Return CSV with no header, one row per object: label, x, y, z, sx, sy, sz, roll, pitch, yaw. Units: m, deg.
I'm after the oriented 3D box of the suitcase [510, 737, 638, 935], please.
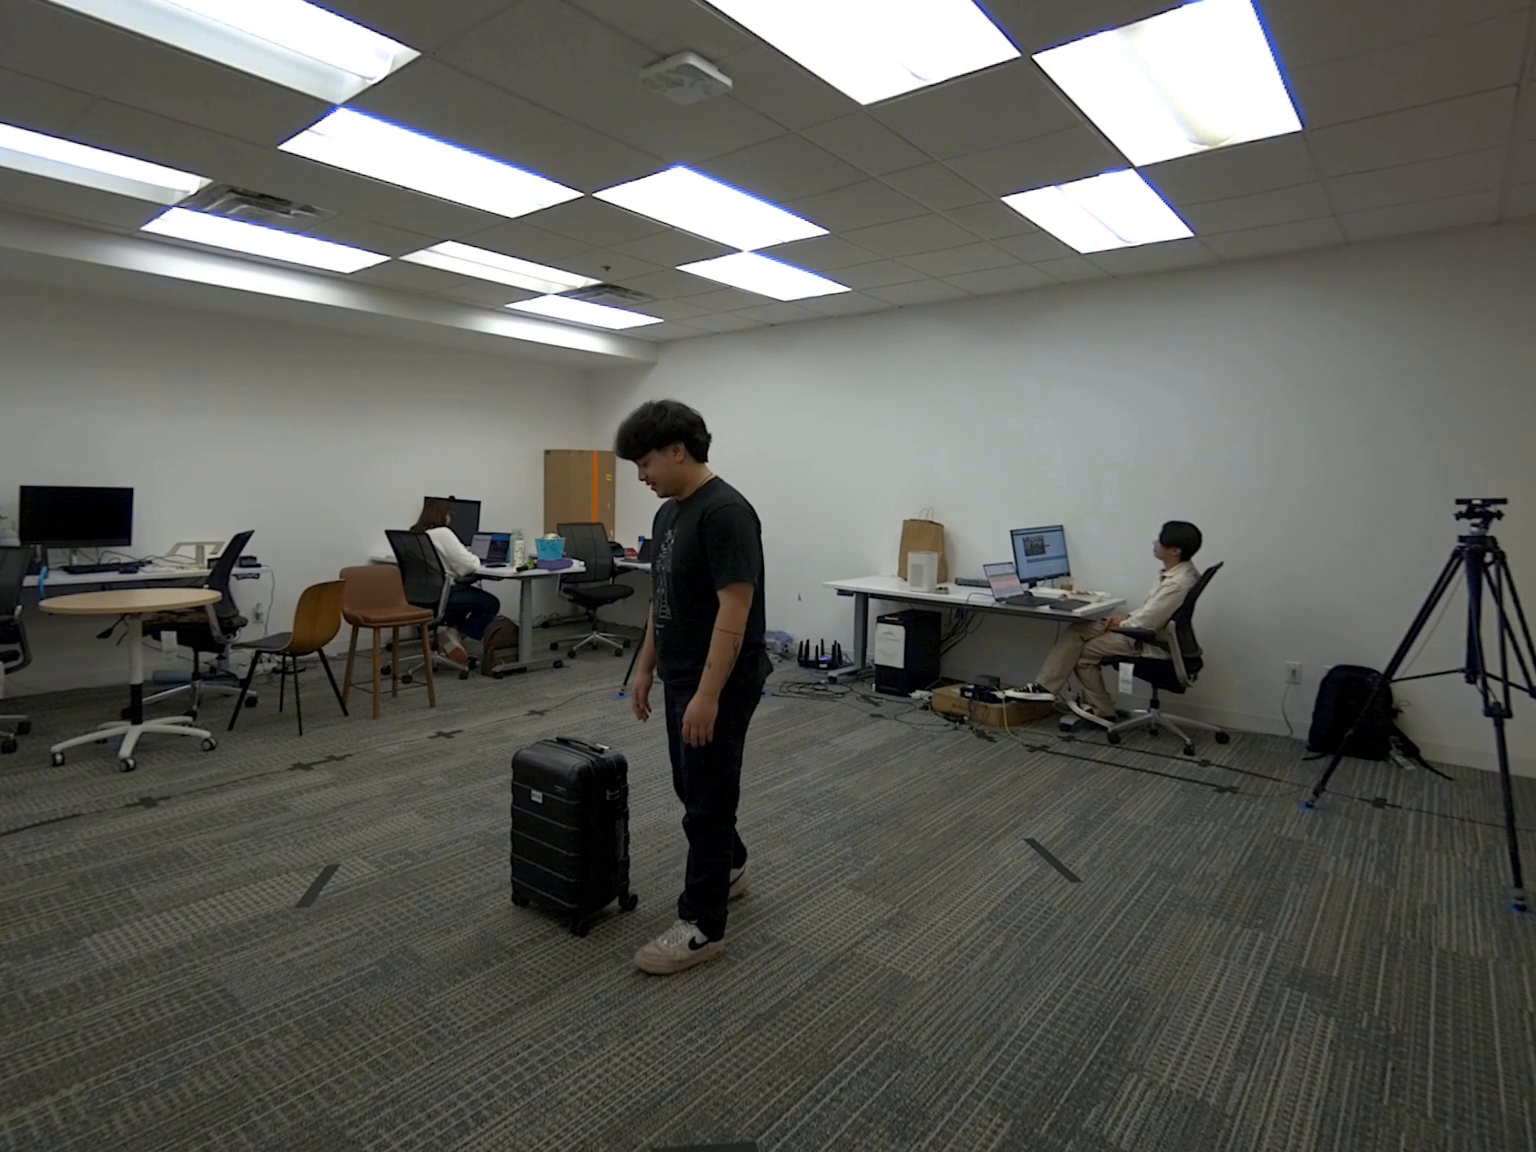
suitcase,-0.656,0.819,2.780,0.388,0.547,0.241,4,6,37
